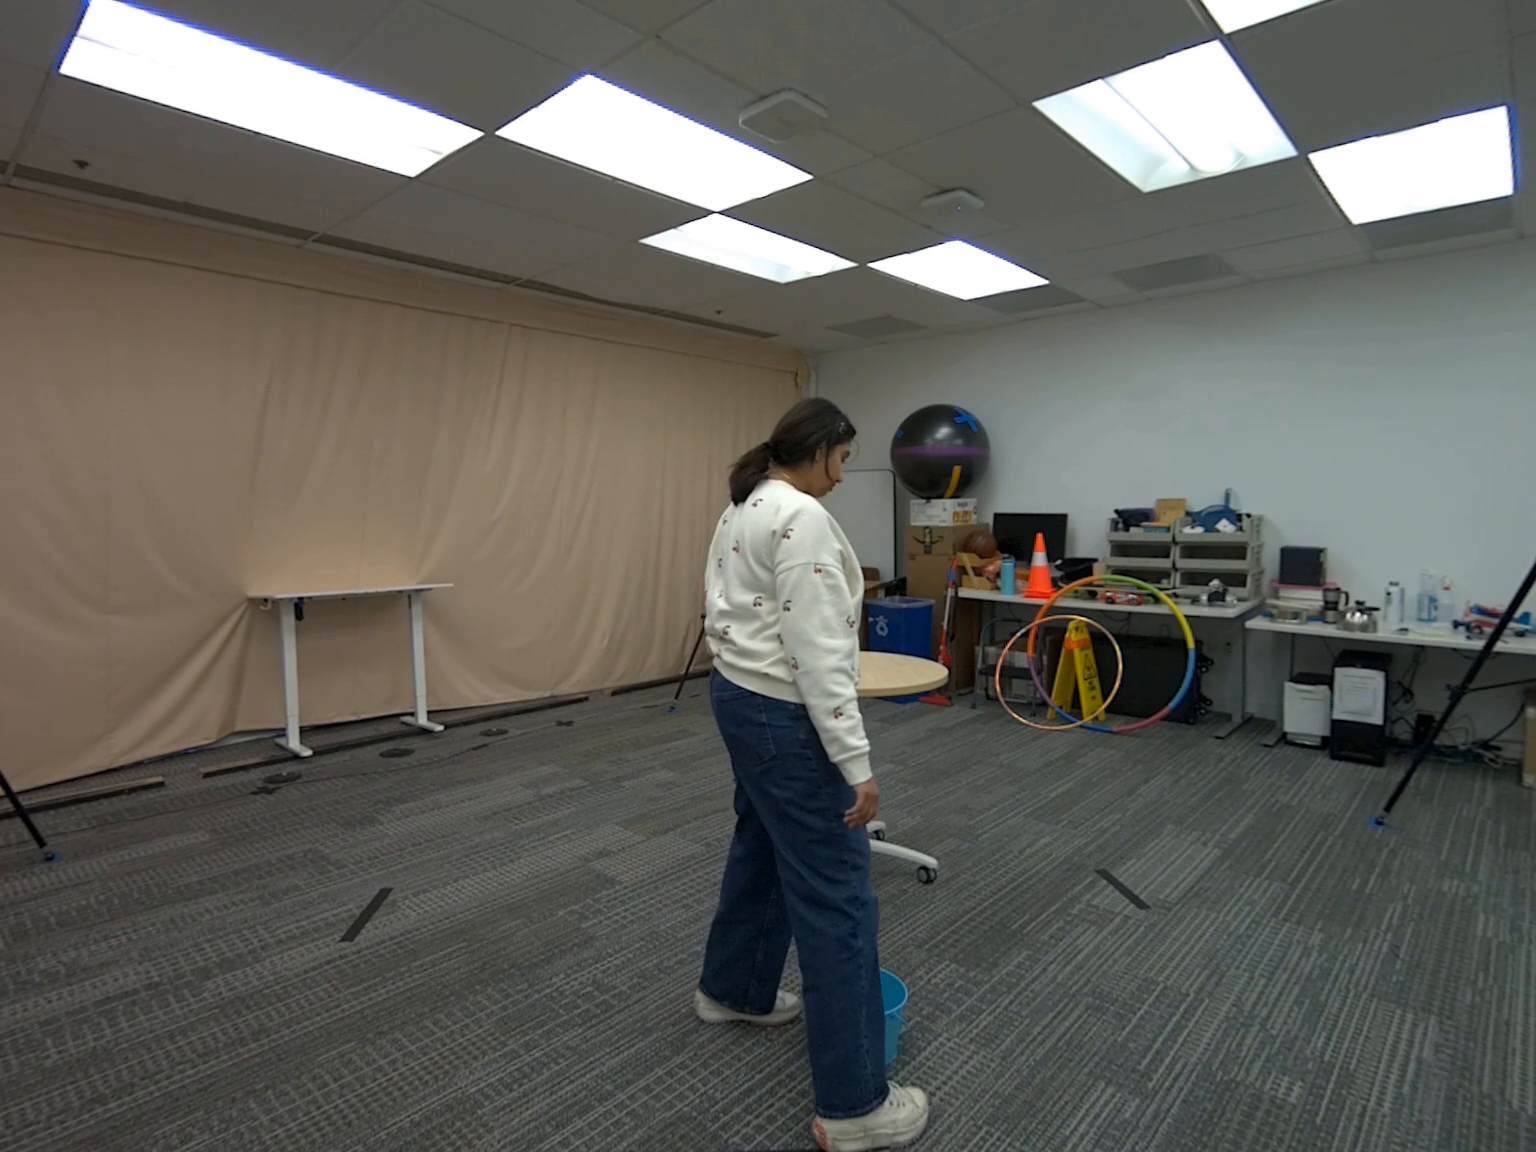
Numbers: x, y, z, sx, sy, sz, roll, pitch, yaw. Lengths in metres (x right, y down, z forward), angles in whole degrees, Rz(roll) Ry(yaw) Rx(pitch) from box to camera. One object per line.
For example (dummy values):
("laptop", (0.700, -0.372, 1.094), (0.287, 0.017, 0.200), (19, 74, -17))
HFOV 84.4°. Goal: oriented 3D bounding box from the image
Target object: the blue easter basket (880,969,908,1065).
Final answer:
("blue easter basket", (0.252, 1.143, 2.148), (0.243, 0.155, 0.244), (0, 5, -2))
